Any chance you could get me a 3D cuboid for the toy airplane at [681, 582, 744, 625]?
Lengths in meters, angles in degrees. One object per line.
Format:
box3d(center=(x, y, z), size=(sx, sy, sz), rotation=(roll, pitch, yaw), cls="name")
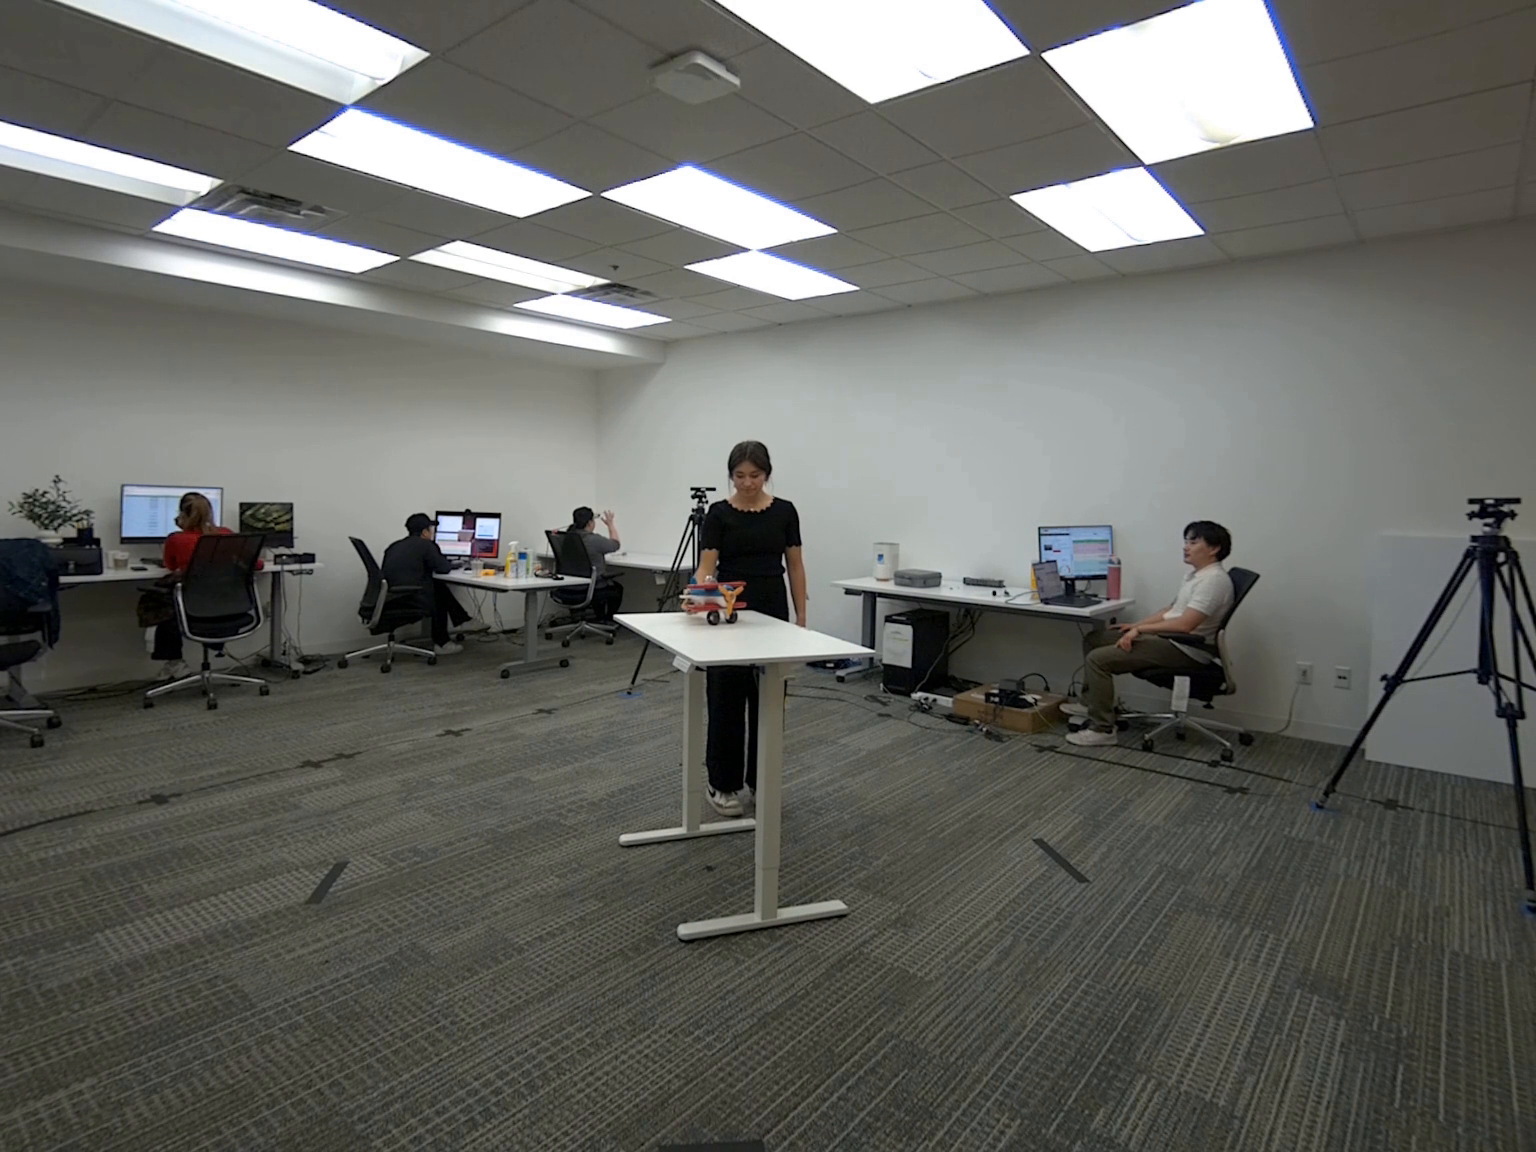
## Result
box3d(center=(-0.244, 0.082, 3.235), size=(0.266, 0.155, 0.247), rotation=(12, 11, 20), cls="toy airplane")
